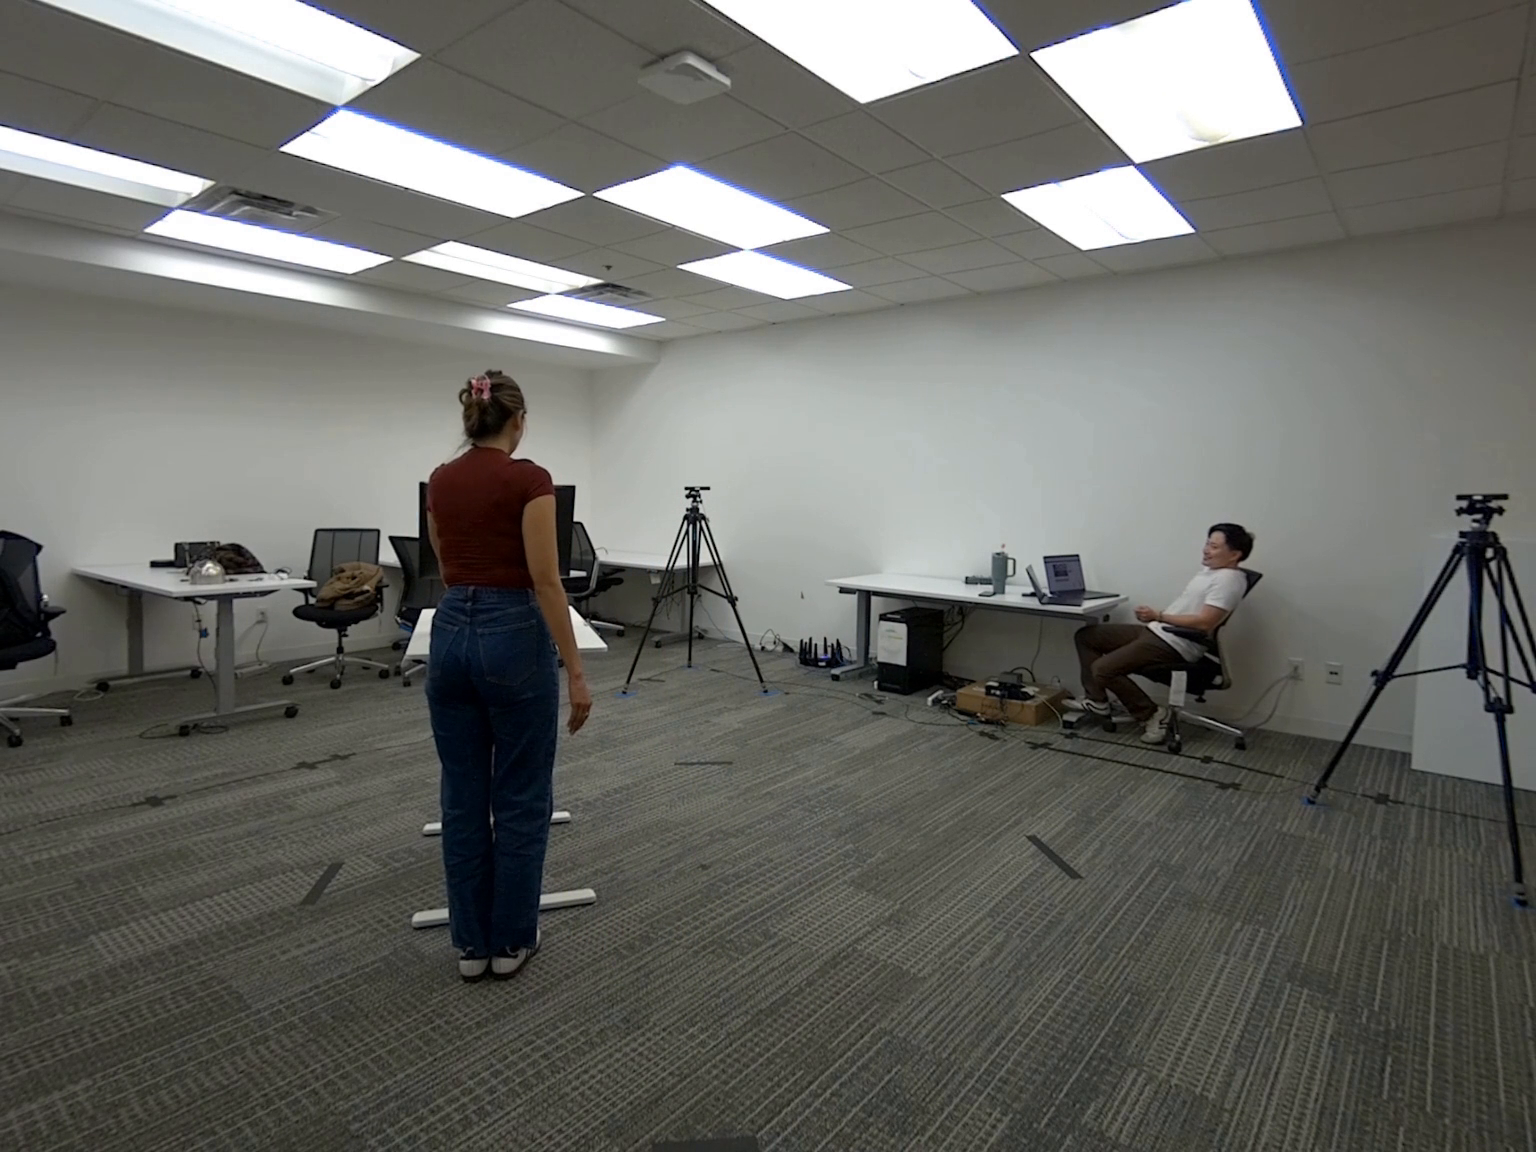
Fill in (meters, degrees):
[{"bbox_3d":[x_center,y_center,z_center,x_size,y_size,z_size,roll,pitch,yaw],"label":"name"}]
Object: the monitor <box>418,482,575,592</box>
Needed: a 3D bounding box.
[{"bbox_3d":[-0.964,-0.071,3.004,0.527,0.520,0.192,0,6,-23],"label":"monitor"}]
